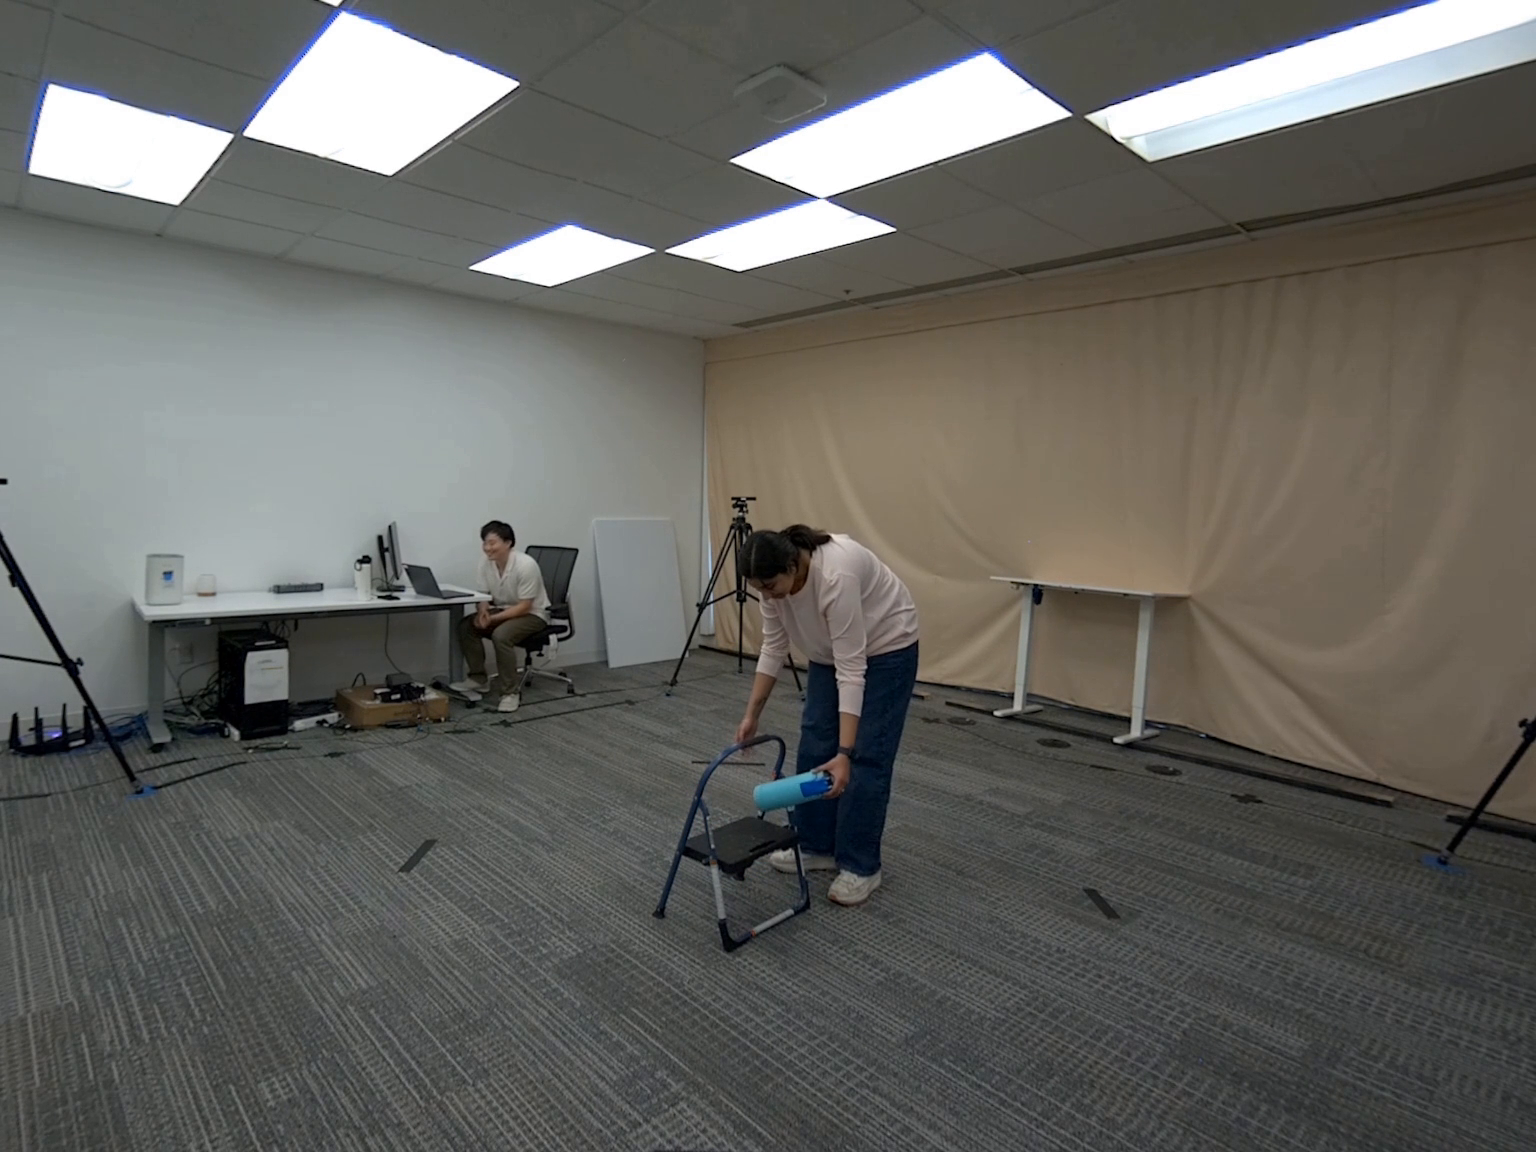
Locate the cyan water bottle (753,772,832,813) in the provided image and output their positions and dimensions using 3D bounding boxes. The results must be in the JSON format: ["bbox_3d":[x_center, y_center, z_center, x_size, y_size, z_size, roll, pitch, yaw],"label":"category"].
[{"bbox_3d":[0.083,0.695,2.755,0.286,0.093,0.091,-21,-5,24],"label":"cyan water bottle"}]
